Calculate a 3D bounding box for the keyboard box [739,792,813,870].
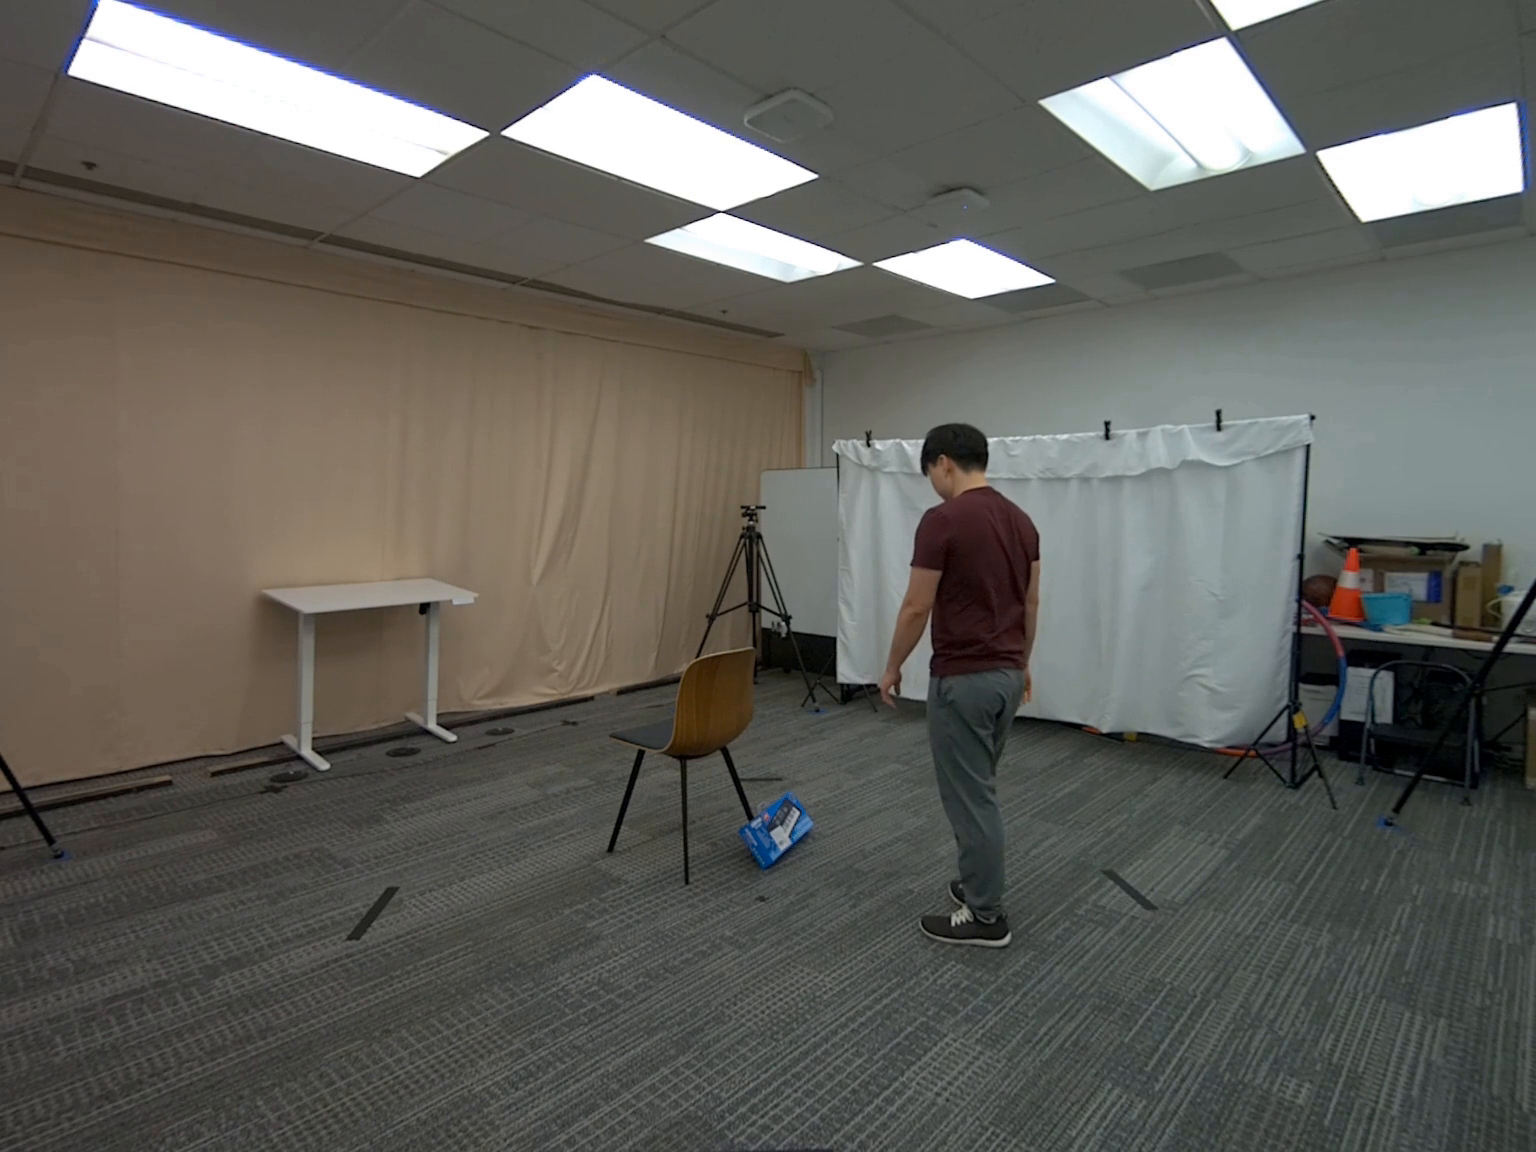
[{"bbox_3d":[0.045,1.023,3.424,0.059,0.178,0.427,-41,-13,22],"label":"keyboard box"}]
